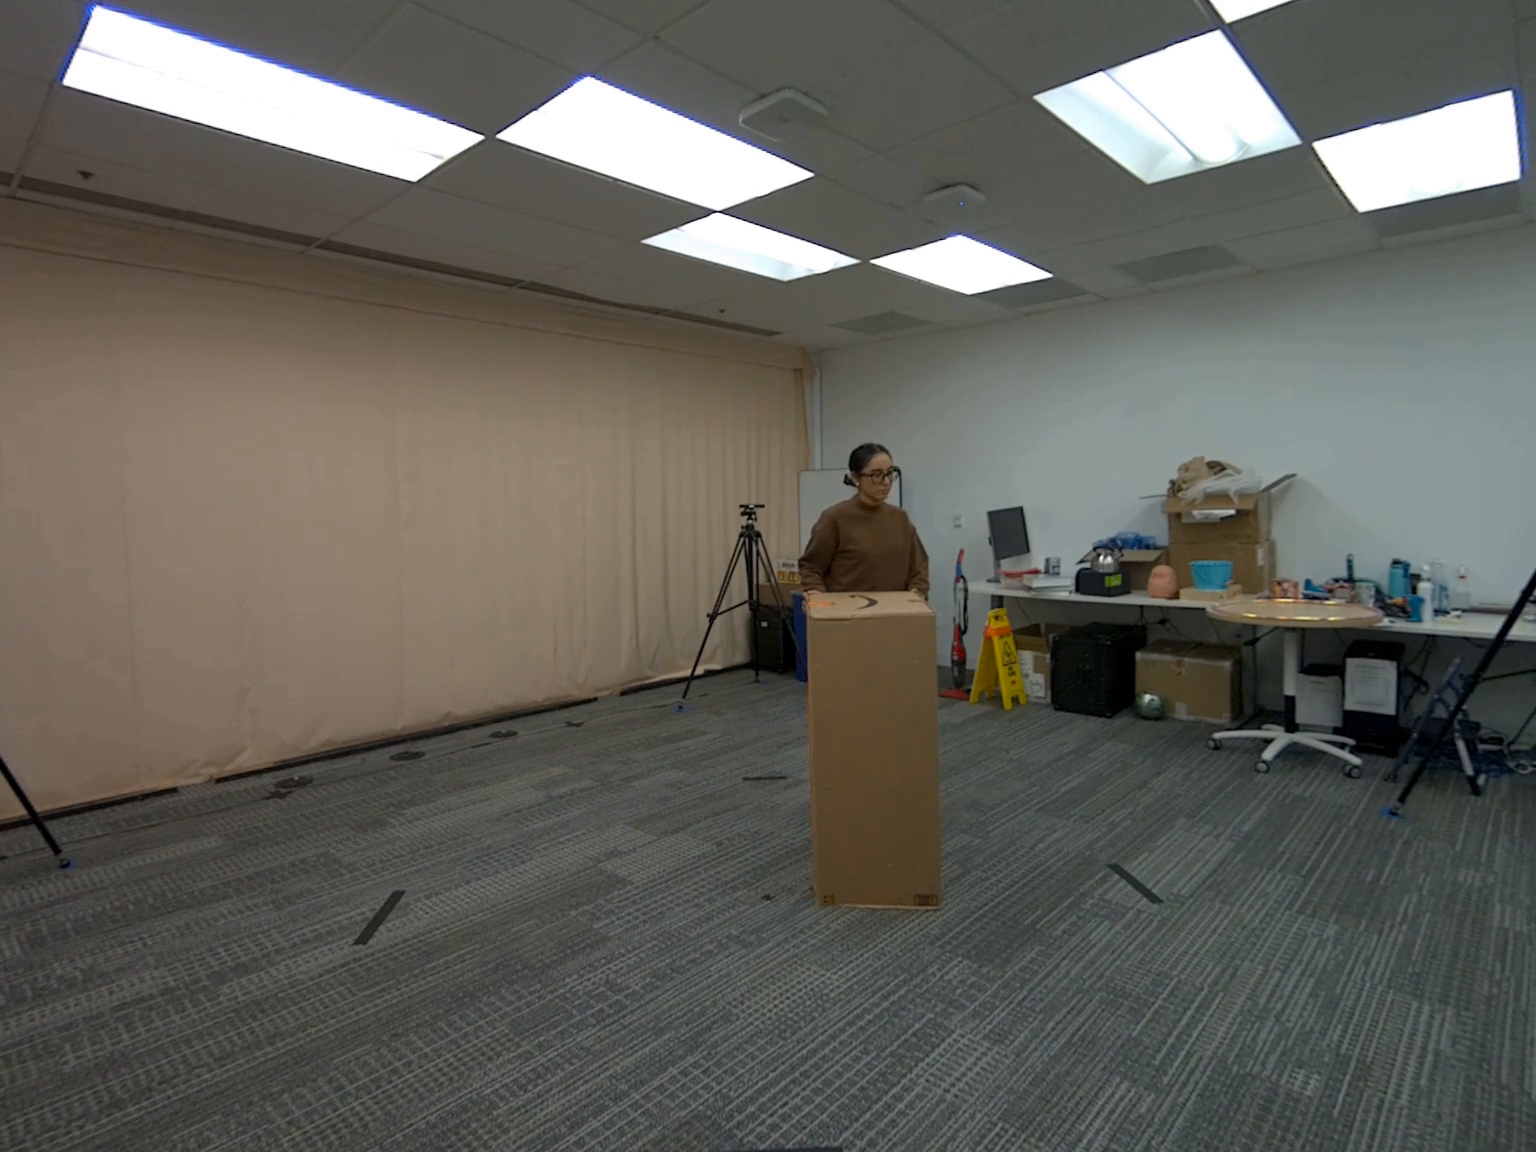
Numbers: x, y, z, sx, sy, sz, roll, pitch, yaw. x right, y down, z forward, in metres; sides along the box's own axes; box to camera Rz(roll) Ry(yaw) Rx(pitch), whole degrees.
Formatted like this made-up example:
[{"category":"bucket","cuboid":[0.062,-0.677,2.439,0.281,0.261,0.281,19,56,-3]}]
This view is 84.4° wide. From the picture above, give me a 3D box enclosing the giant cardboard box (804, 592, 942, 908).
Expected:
[{"category":"giant cardboard box","cuboid":[0.374,0.605,3.132,0.429,1.023,0.576,-2,5,4]}]
